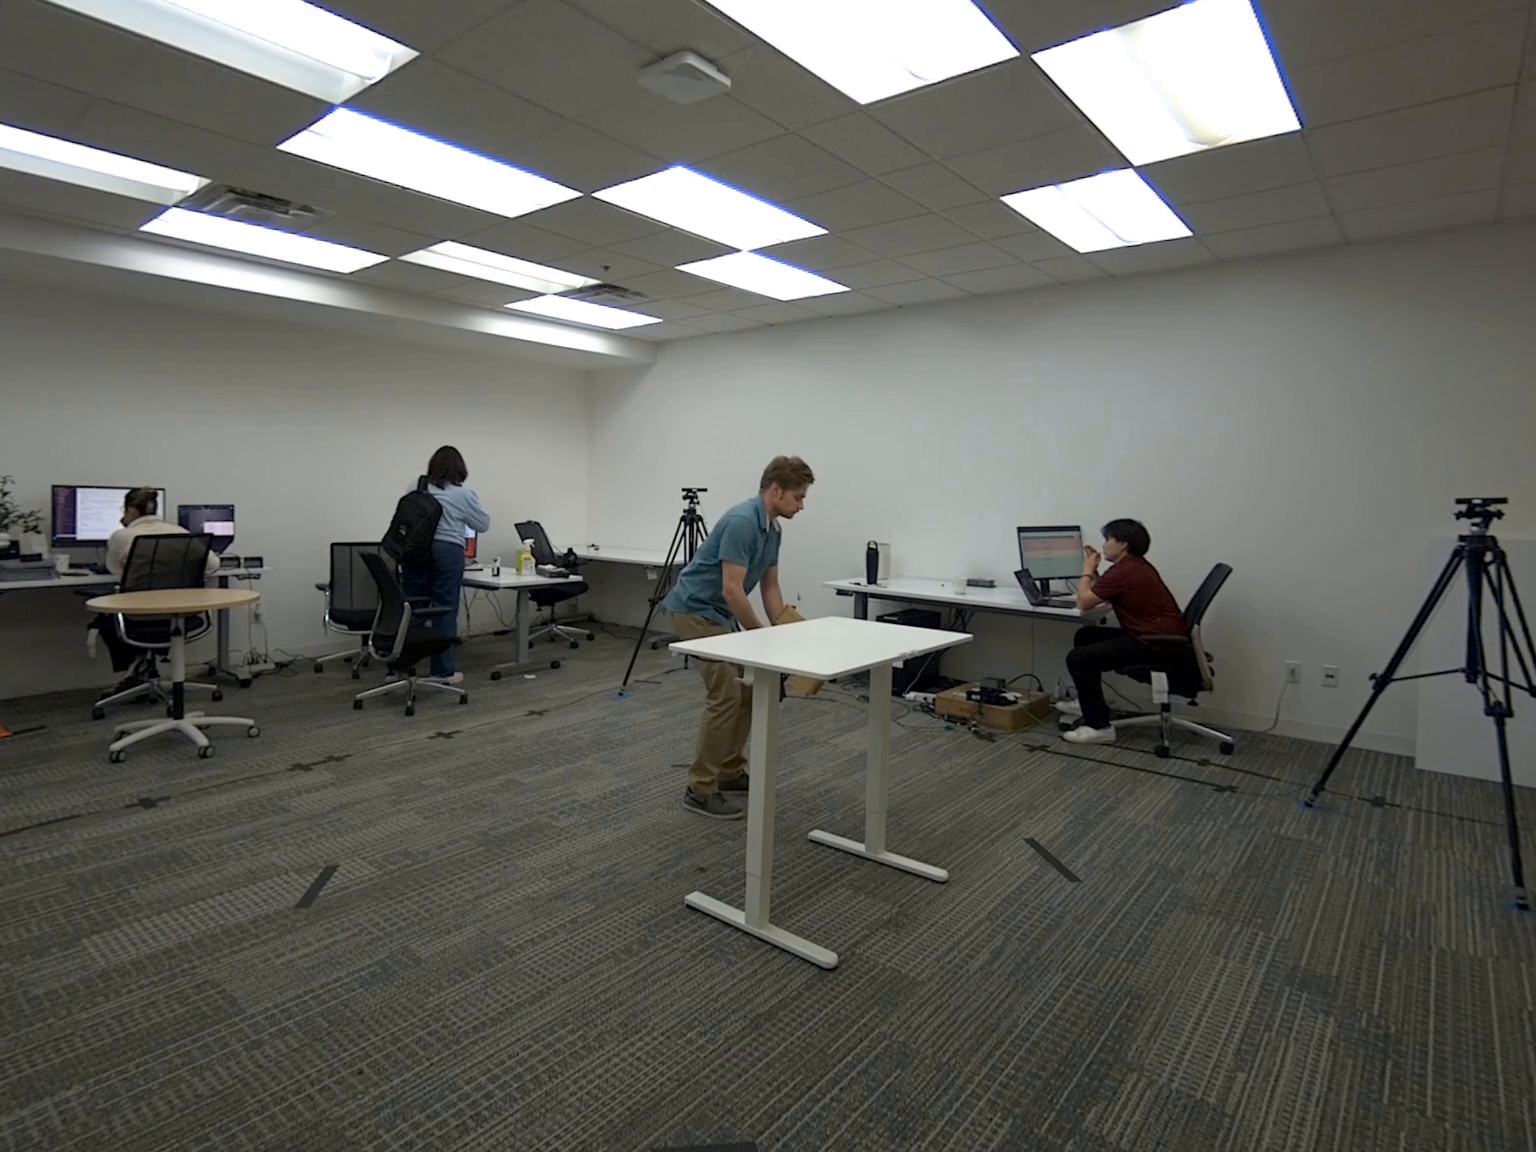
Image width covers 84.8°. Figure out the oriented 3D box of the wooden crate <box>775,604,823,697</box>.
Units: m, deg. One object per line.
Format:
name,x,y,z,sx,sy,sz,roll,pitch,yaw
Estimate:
wooden crate,0.150,0.317,3.700,0.332,0.273,0.295,40,8,15
